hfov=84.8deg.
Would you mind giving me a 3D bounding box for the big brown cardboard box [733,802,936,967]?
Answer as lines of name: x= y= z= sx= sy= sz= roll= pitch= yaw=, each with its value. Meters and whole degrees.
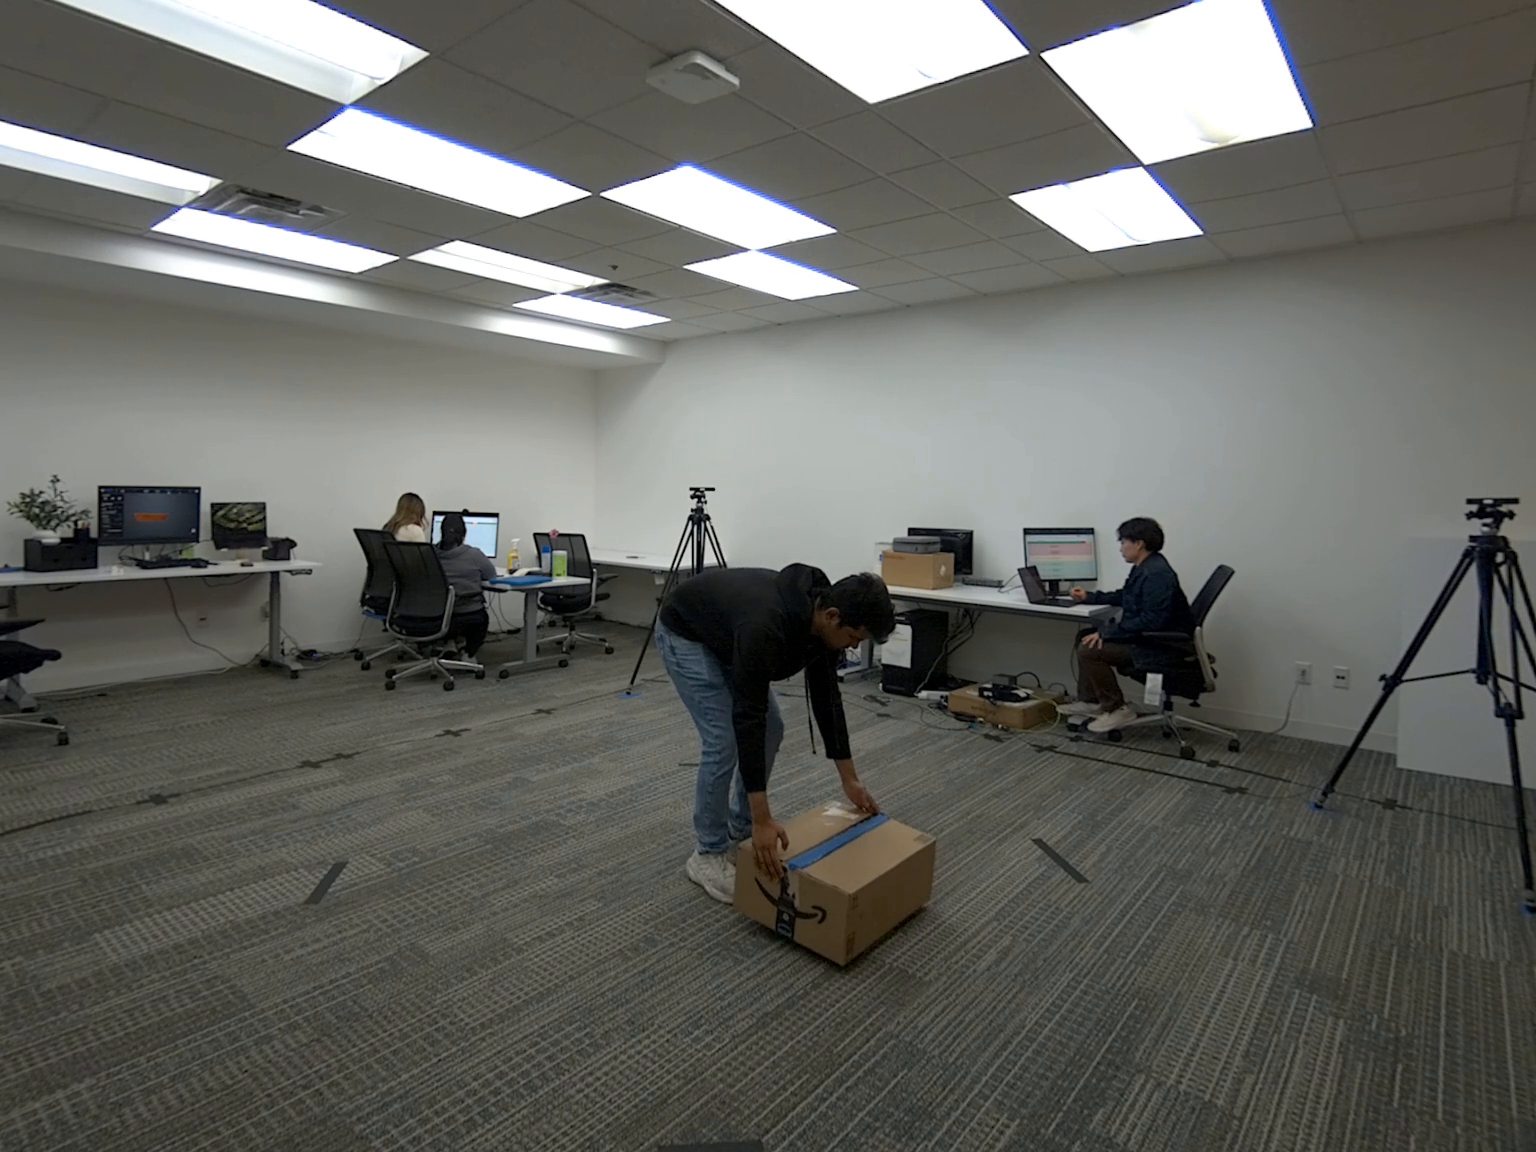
big brown cardboard box: x=0.228 y=0.960 z=2.767 sx=0.432 sy=0.232 sz=0.572 roll=8 pitch=9 yaw=38
